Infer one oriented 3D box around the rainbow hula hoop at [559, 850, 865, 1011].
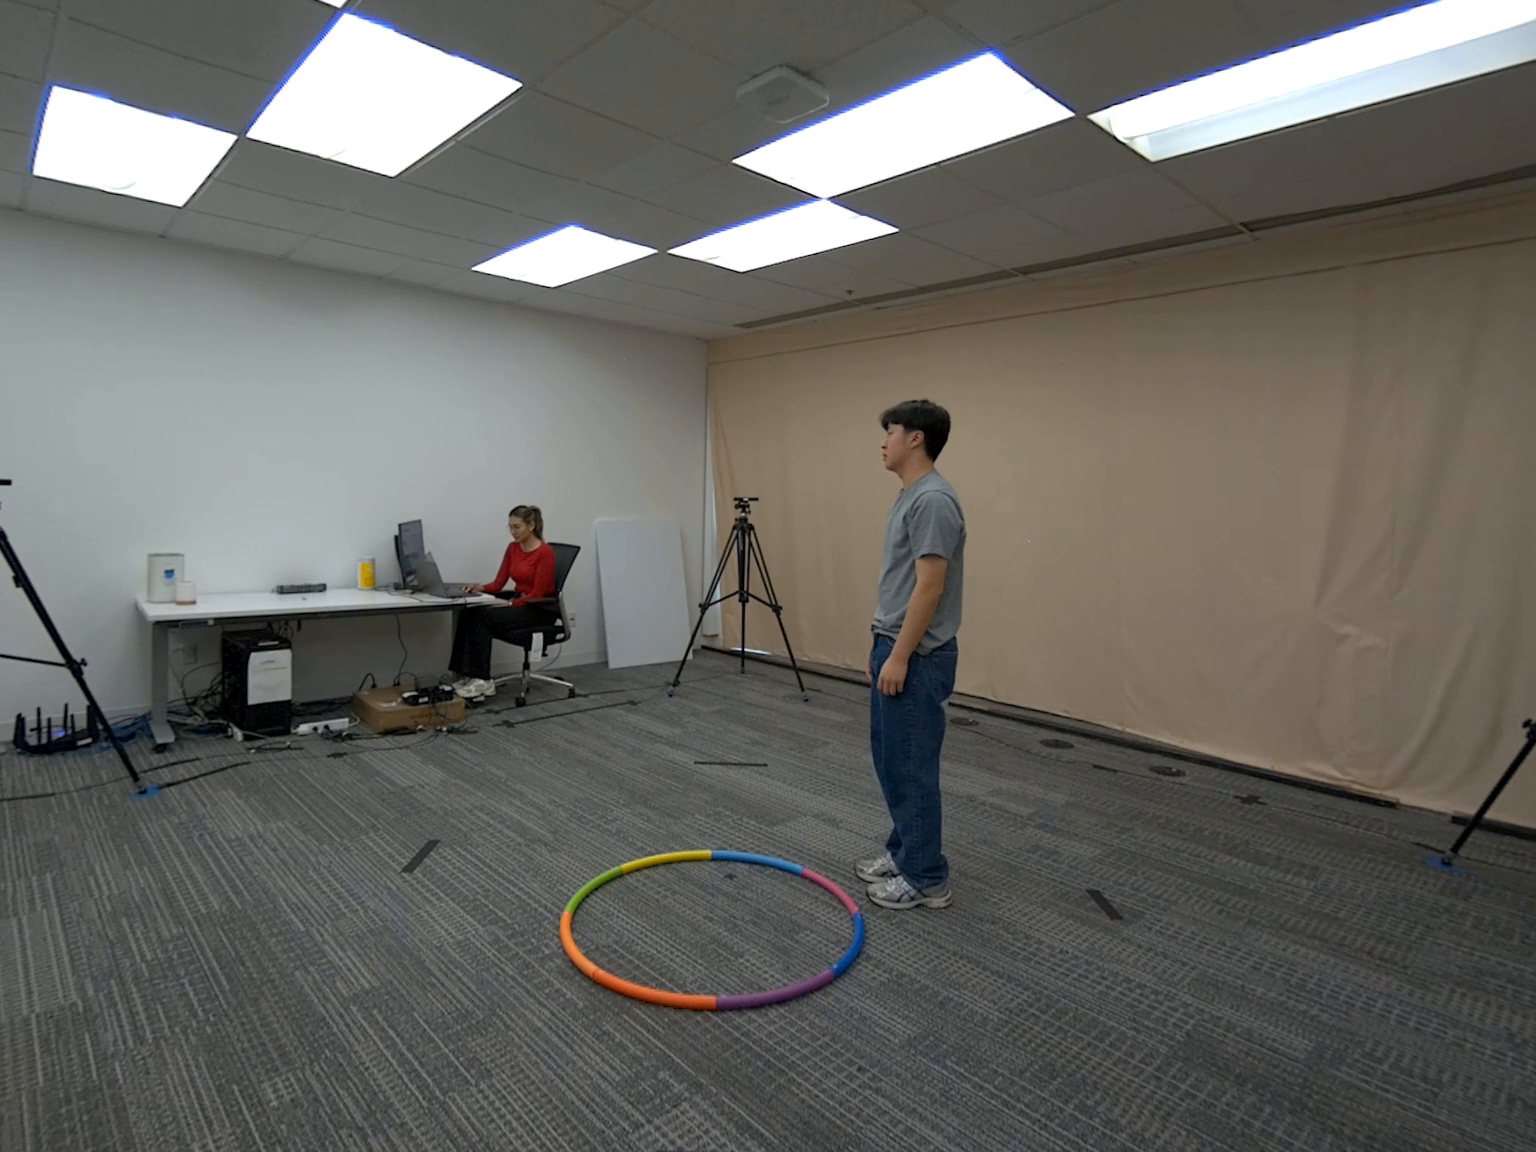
[{"bbox_3d":[-0.192,1.108,2.770,0.978,0.035,0.982,1,5,-1],"label":"rainbow hula hoop"}]
